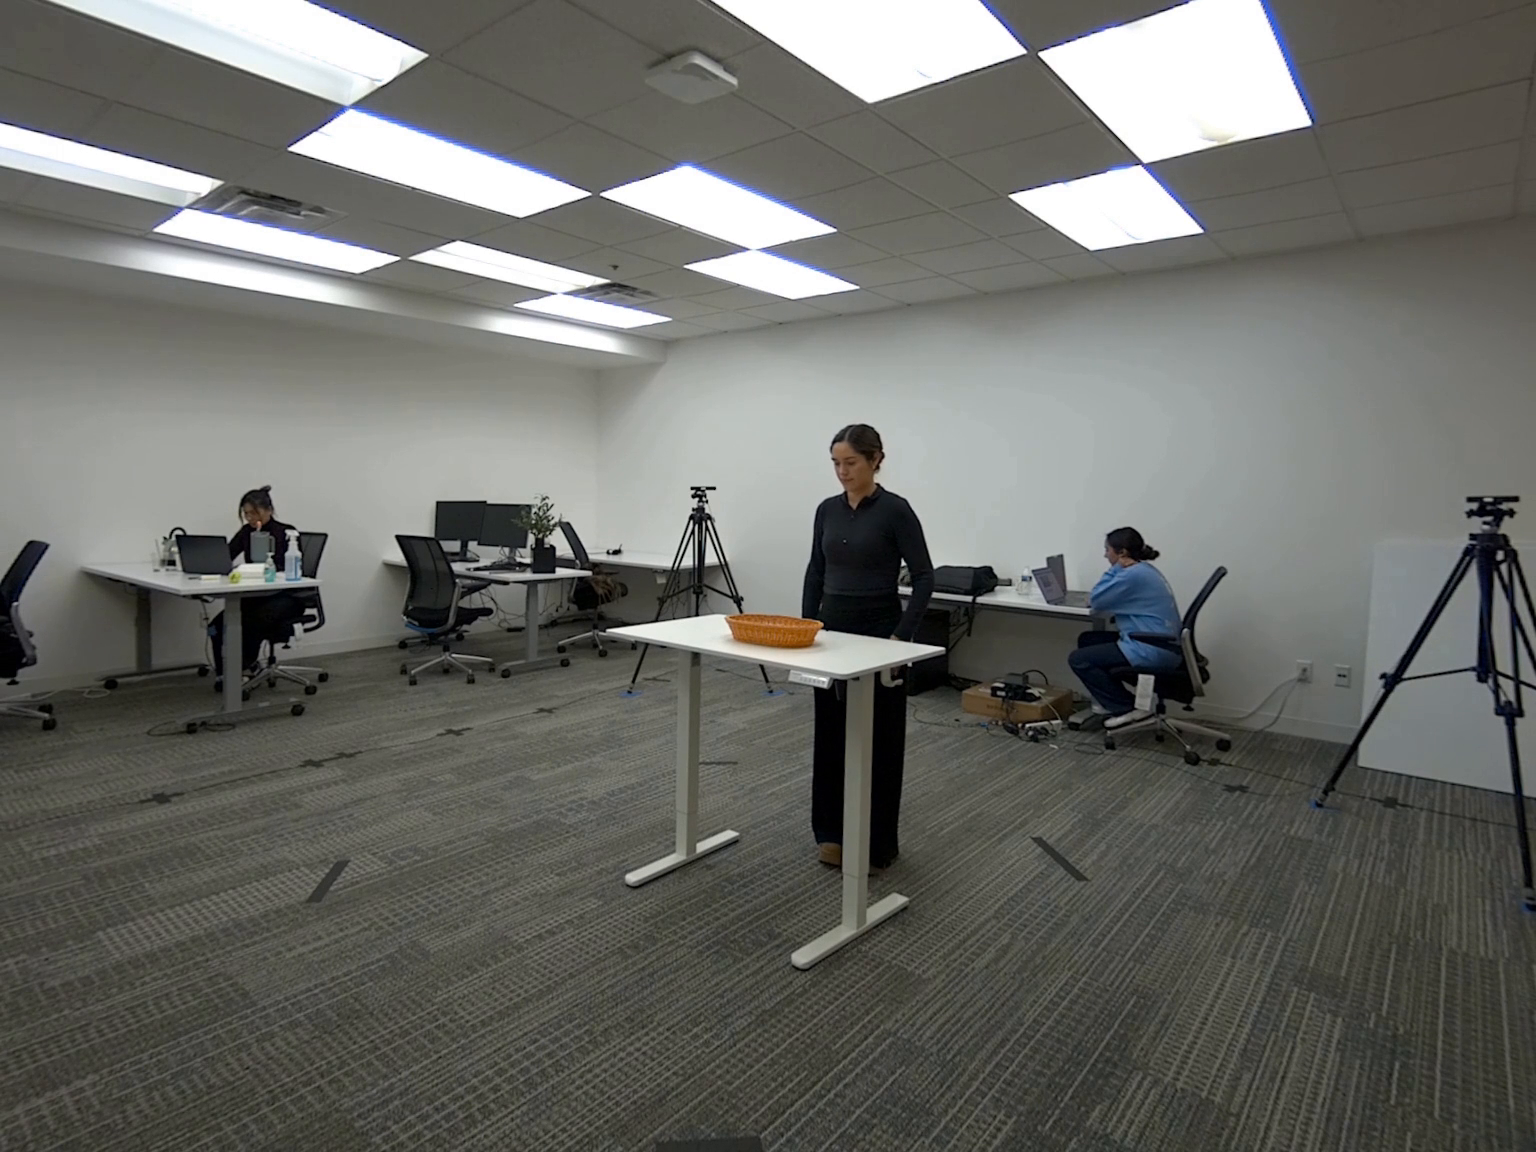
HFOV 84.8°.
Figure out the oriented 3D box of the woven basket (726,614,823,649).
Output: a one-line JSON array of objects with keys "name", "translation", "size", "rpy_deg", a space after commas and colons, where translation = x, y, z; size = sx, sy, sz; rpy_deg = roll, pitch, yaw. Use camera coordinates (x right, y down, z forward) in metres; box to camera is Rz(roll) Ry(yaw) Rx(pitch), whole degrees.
[{"name": "woven basket", "translation": [0.013, 0.186, 2.828], "size": [0.362, 0.073, 0.245], "rpy_deg": [5, 6, 40]}]
